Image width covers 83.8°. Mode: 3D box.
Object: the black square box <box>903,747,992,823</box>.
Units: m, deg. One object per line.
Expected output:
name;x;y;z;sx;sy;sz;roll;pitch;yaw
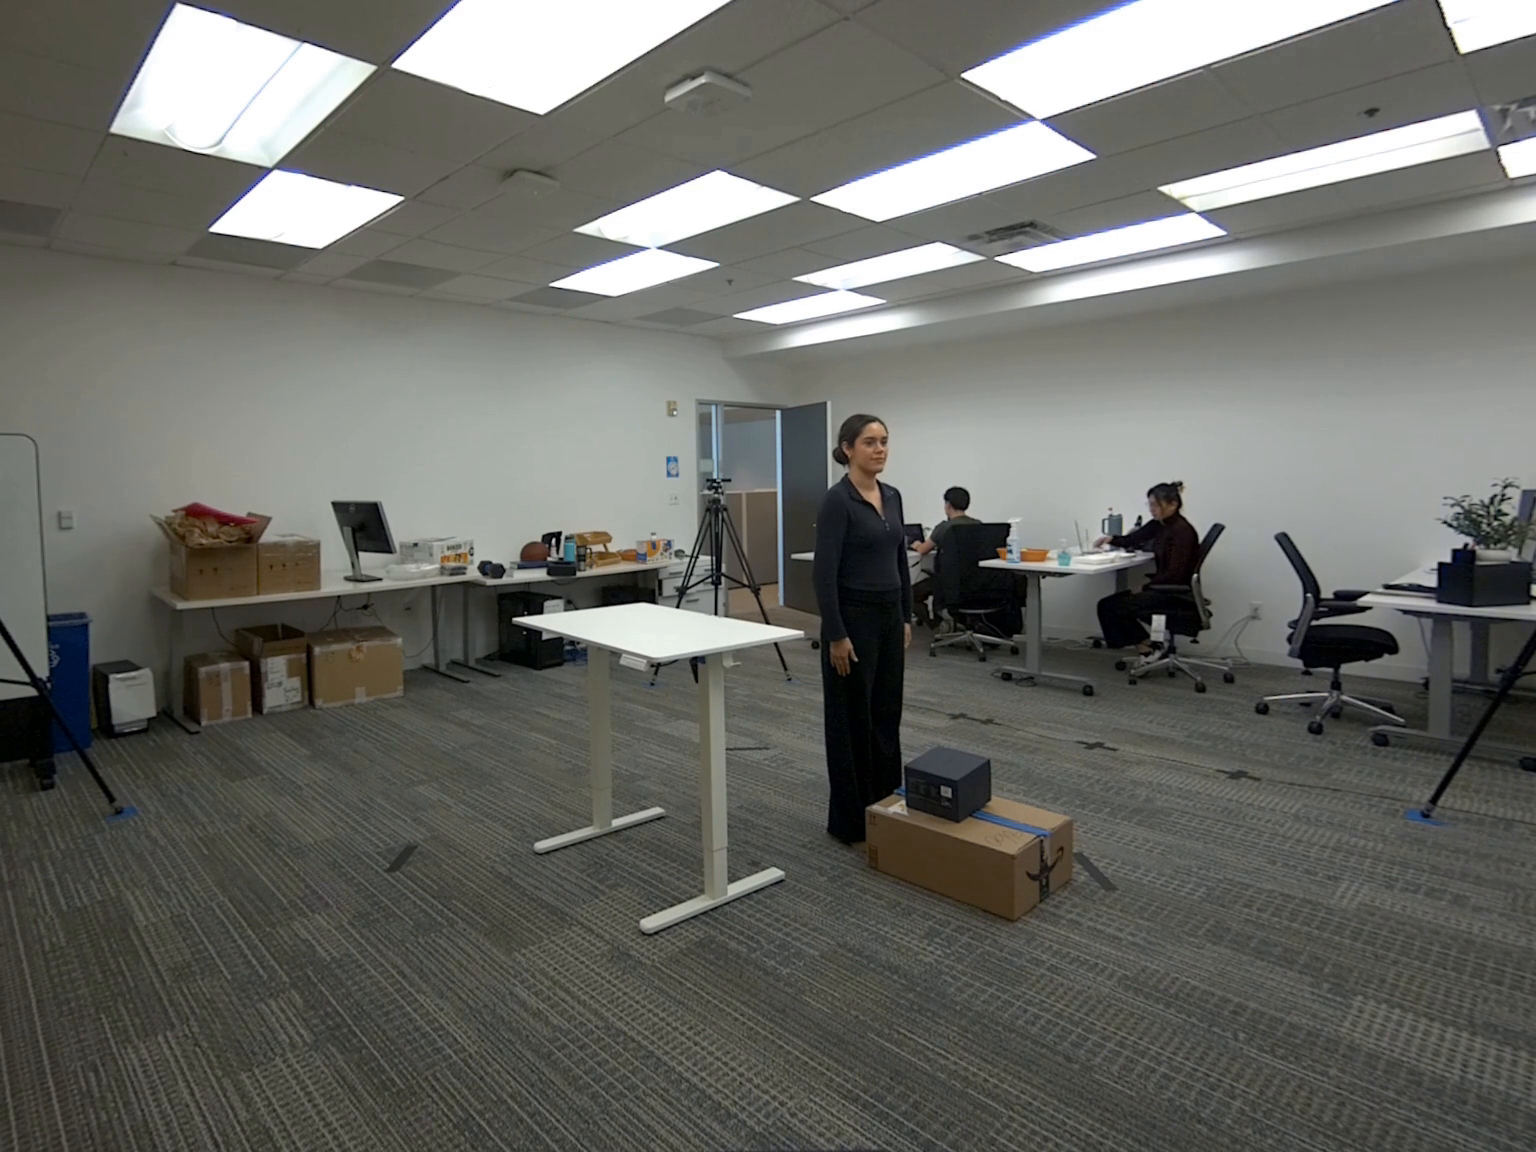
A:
black square box;0.638;0.732;3.038;0.224;0.155;0.223;5;12;44
